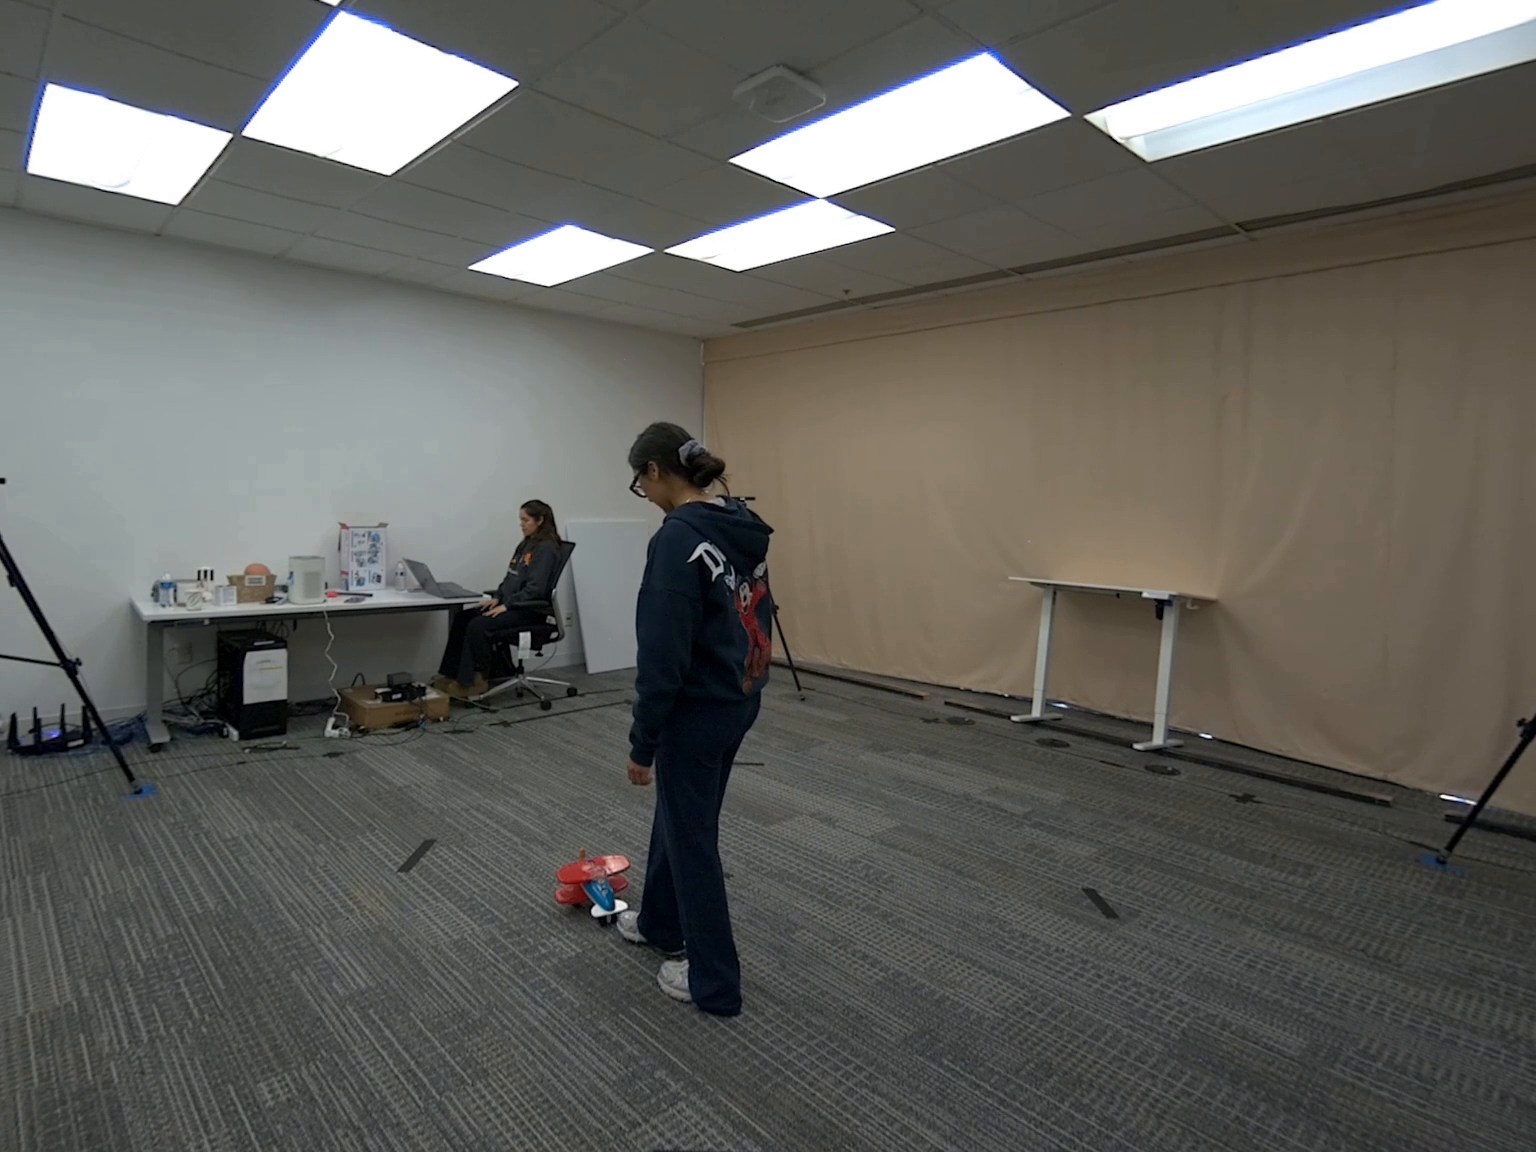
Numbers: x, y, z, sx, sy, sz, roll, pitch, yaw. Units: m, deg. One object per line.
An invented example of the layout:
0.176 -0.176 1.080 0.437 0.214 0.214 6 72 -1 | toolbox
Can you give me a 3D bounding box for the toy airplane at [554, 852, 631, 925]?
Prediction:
-0.561 1.050 2.812 0.264 0.156 0.246 2 5 28 | toy airplane
